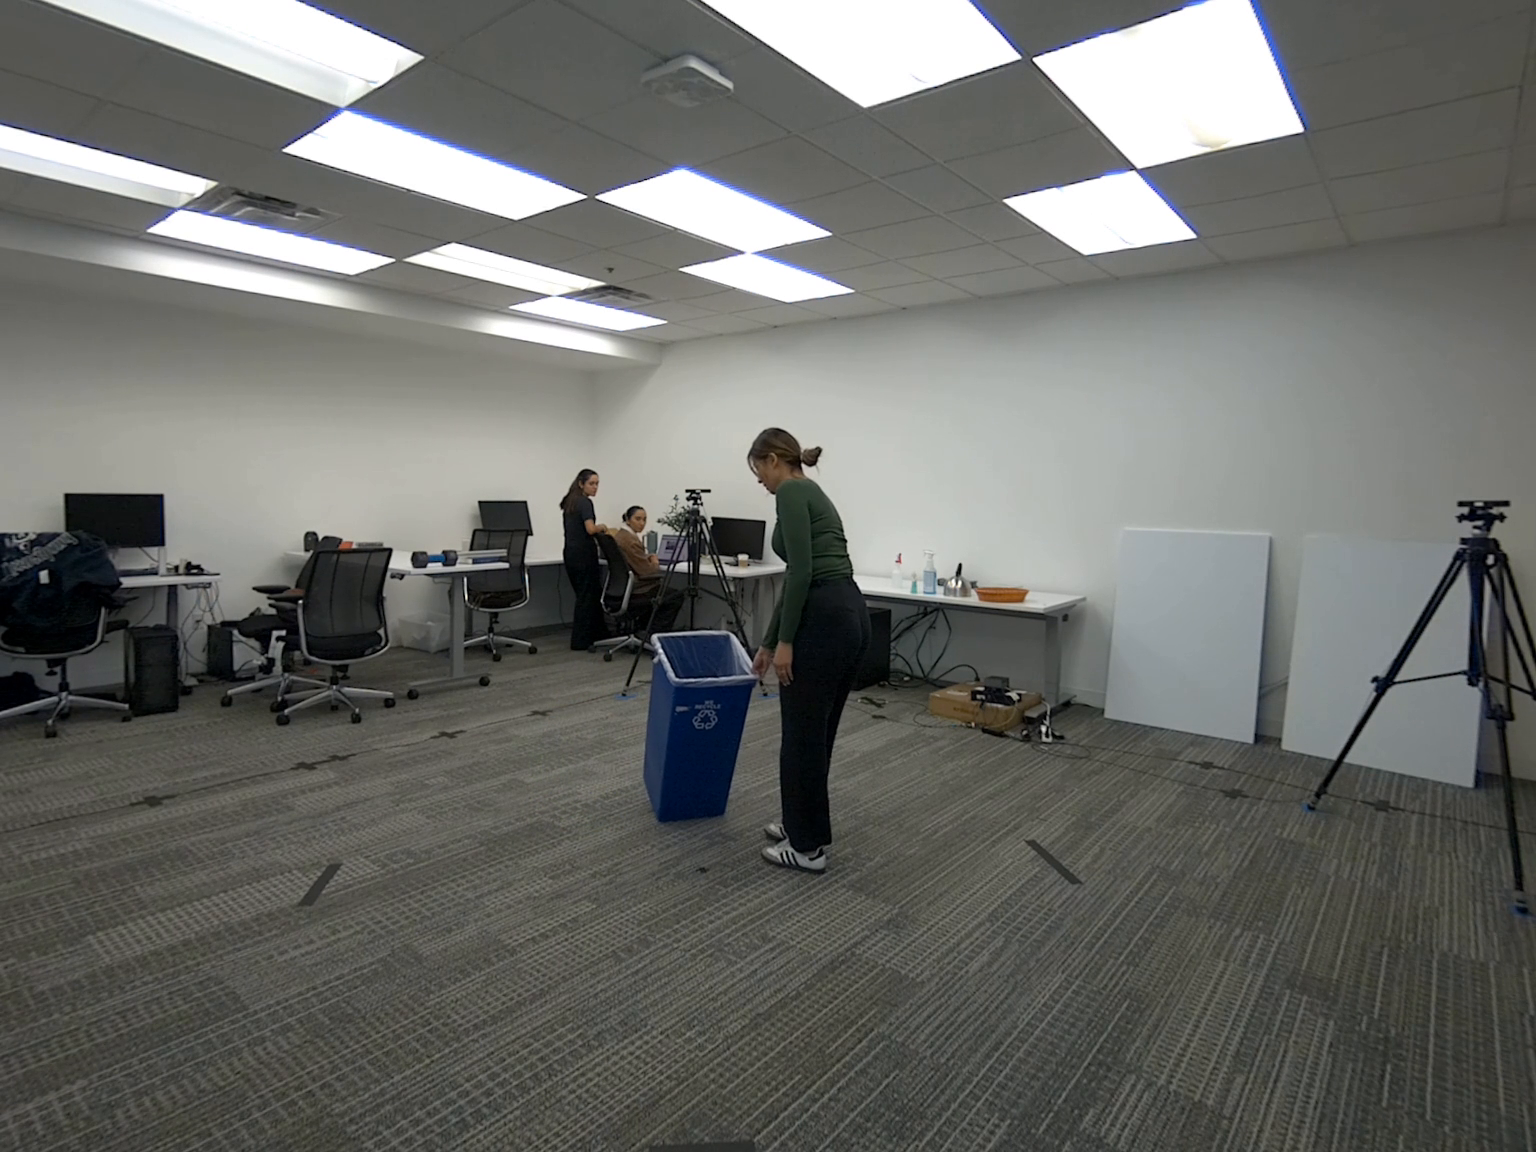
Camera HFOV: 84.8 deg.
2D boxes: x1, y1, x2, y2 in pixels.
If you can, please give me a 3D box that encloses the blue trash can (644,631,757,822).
[{"bbox_3d":[-0.336,0.637,3.596,0.370,0.702,0.388,0,25,-22],"label":"blue trash can"}]
